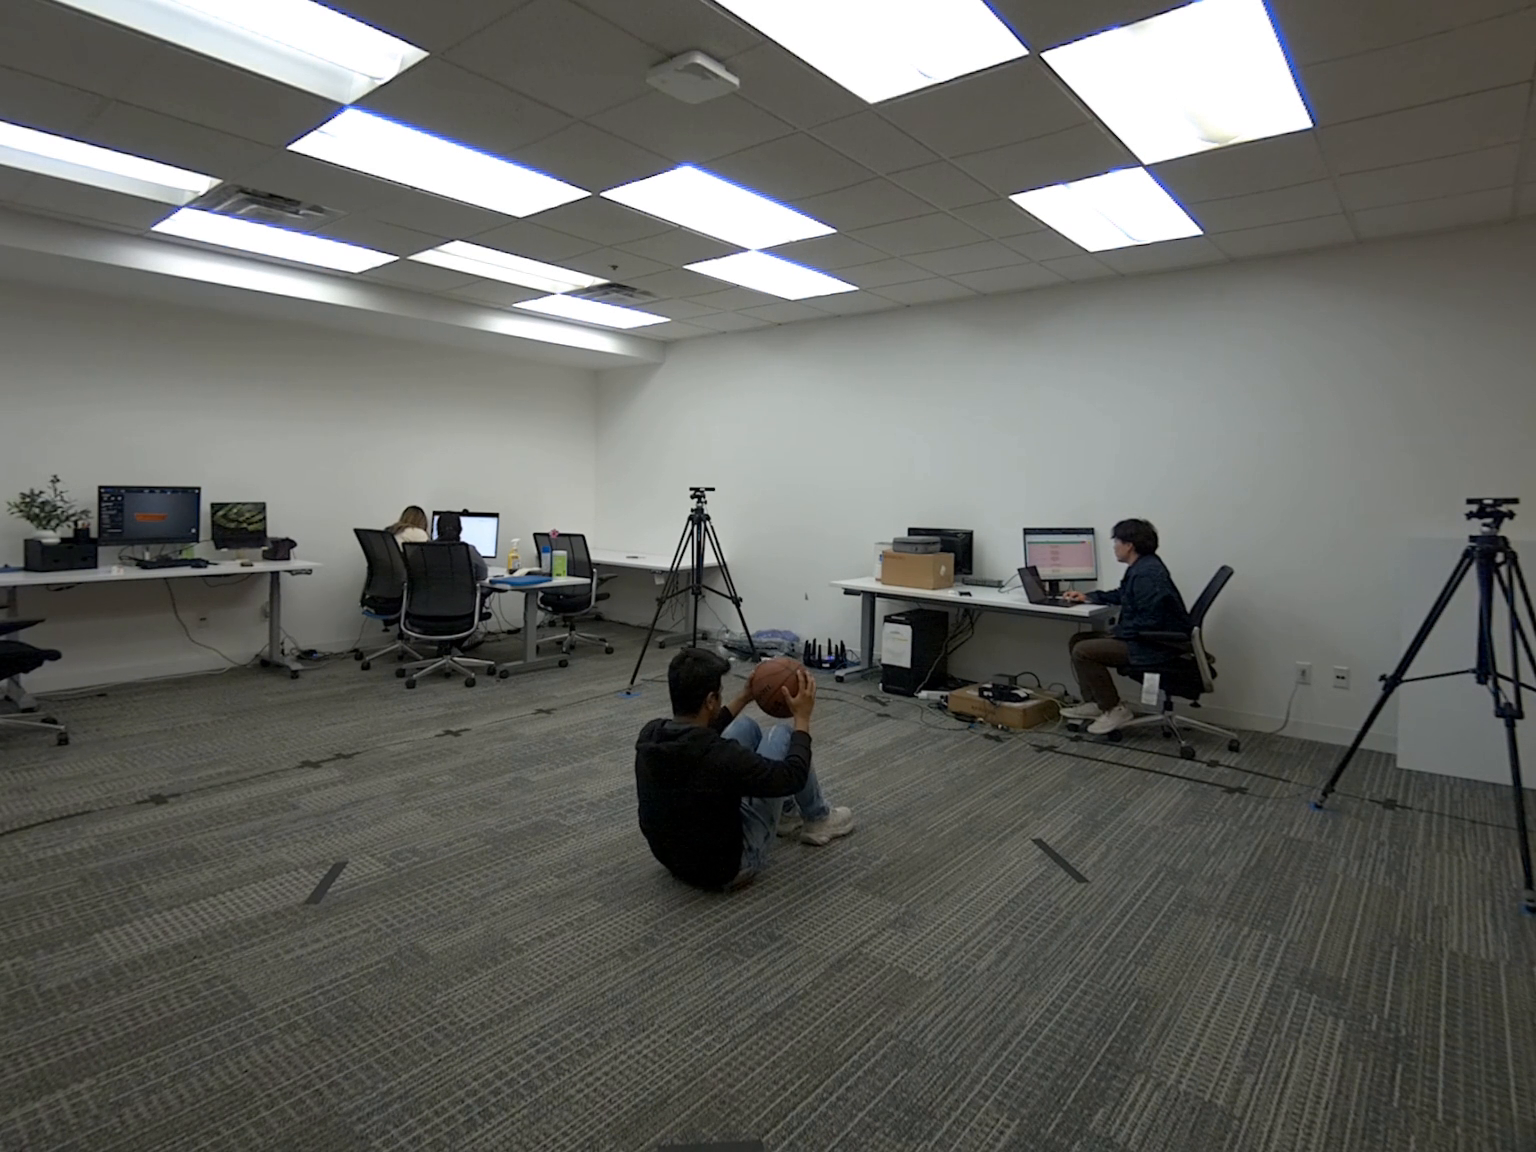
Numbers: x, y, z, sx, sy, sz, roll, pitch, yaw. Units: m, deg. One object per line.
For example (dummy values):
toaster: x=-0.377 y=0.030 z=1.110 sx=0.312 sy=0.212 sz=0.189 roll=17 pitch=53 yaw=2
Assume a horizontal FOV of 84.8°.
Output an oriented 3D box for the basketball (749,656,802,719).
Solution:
basketball: x=0.041 y=0.439 z=3.321 sx=0.235 sy=0.235 sz=0.237 roll=1 pitch=4 yaw=-2
